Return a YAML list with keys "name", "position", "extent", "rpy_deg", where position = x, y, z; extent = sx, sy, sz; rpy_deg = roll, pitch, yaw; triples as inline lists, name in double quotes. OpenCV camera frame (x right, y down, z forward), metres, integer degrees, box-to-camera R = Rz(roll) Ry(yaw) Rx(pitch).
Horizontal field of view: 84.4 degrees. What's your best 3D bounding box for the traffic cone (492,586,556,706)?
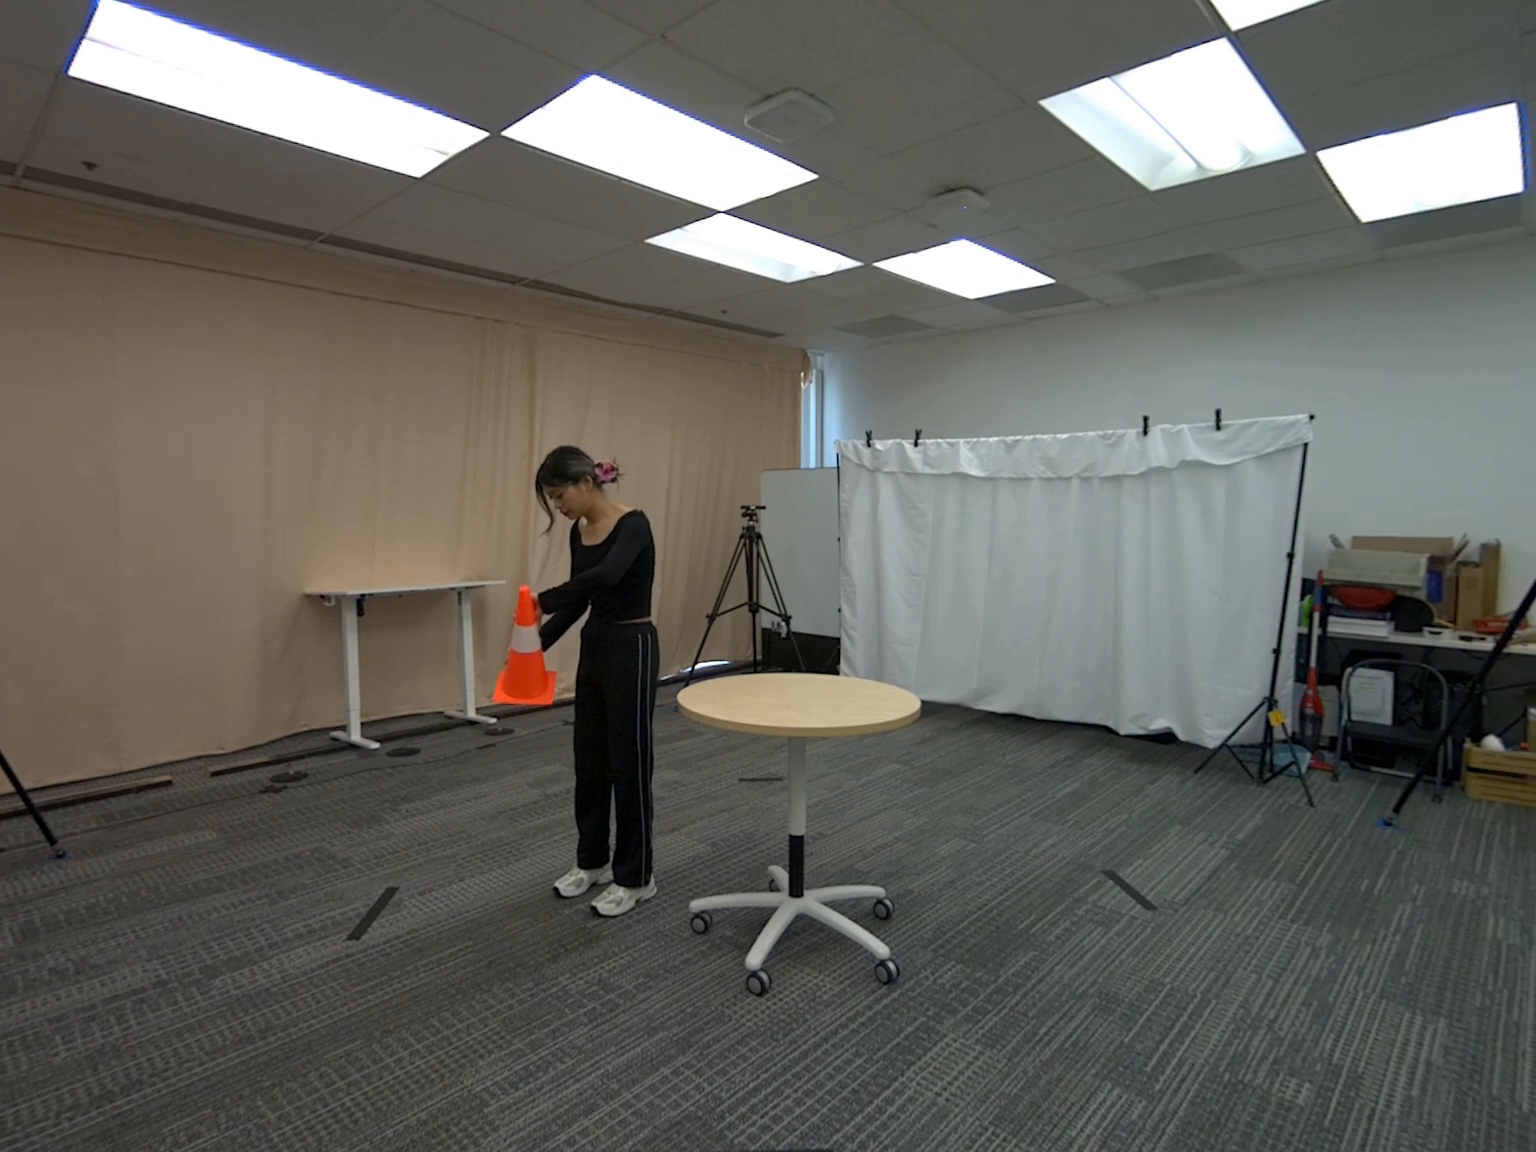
- name: "traffic cone"
  position: [-0.797, 0.217, 2.776]
  extent: [0.202, 0.380, 0.208]
  rpy_deg: [3, 21, -12]
